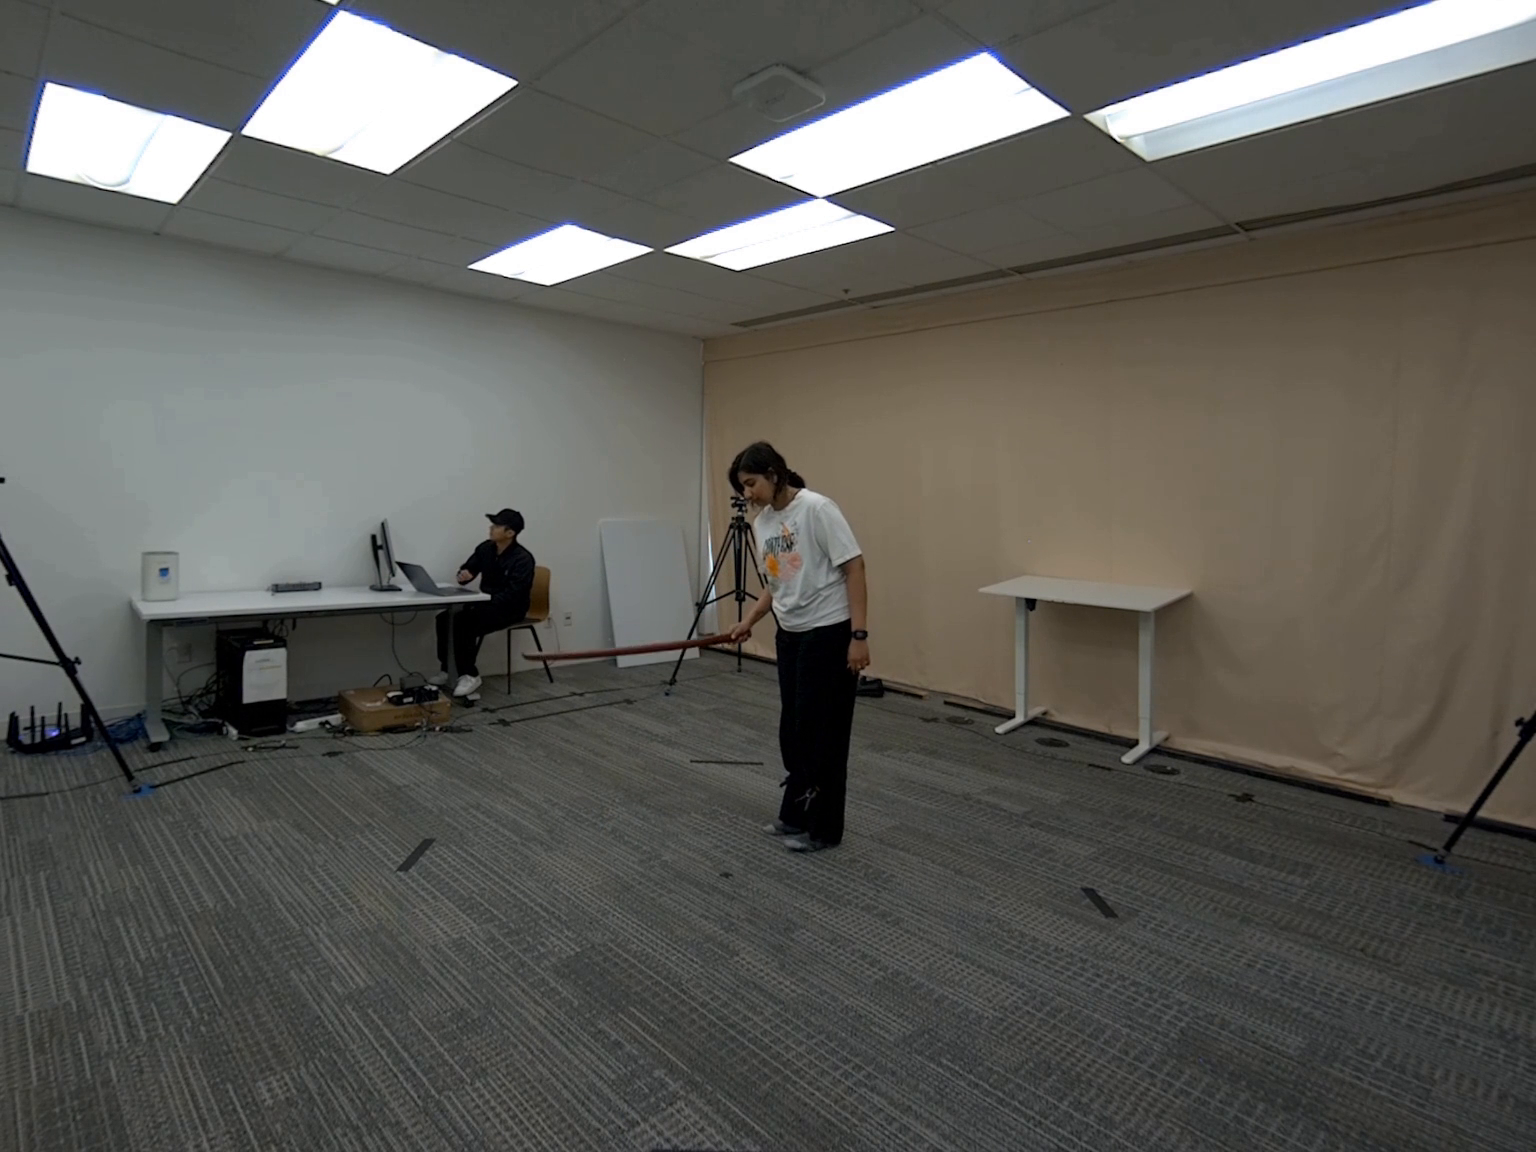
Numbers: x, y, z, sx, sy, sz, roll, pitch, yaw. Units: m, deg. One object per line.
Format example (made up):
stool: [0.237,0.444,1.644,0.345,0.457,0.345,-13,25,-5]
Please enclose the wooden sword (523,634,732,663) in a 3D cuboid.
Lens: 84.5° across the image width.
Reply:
wooden sword: [-0.475,0.277,3.209,1.002,0.024,0.053,-2,48,-37]
